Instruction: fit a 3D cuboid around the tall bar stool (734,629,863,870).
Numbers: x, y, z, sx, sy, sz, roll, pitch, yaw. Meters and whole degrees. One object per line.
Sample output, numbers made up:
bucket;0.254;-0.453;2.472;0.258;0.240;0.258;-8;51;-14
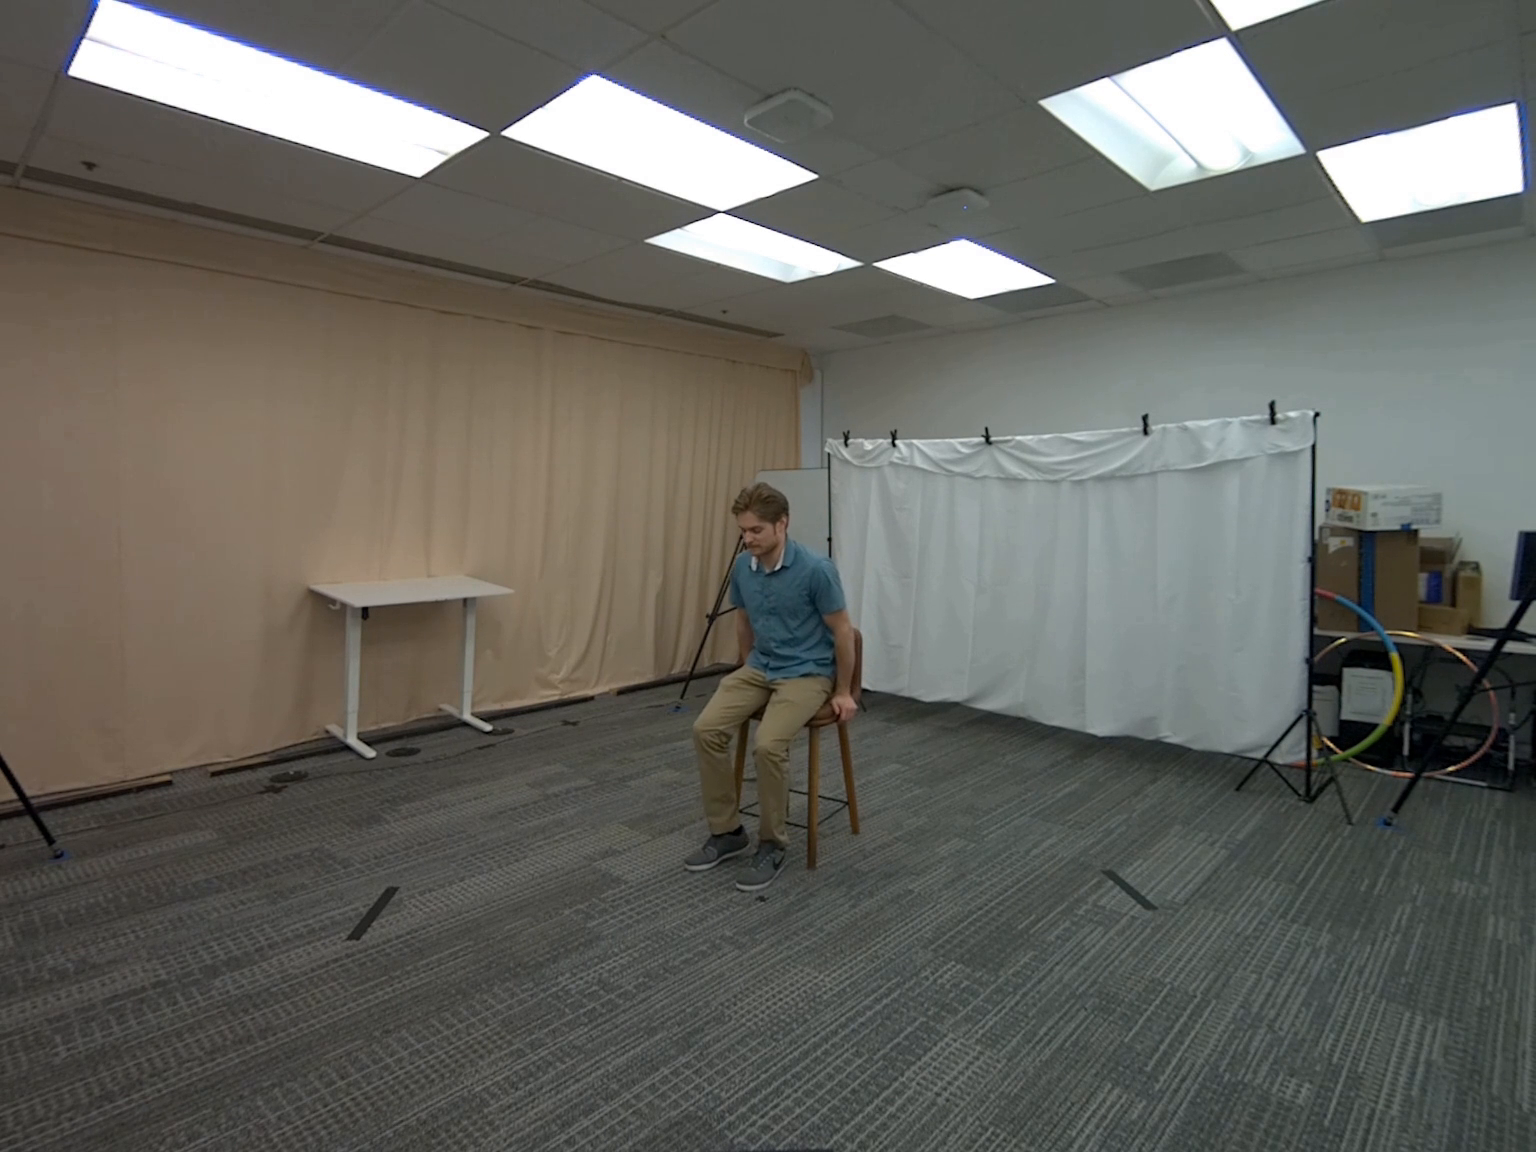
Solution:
tall bar stool;0.131;0.667;3.494;0.471;0.889;0.454;3;2;33
